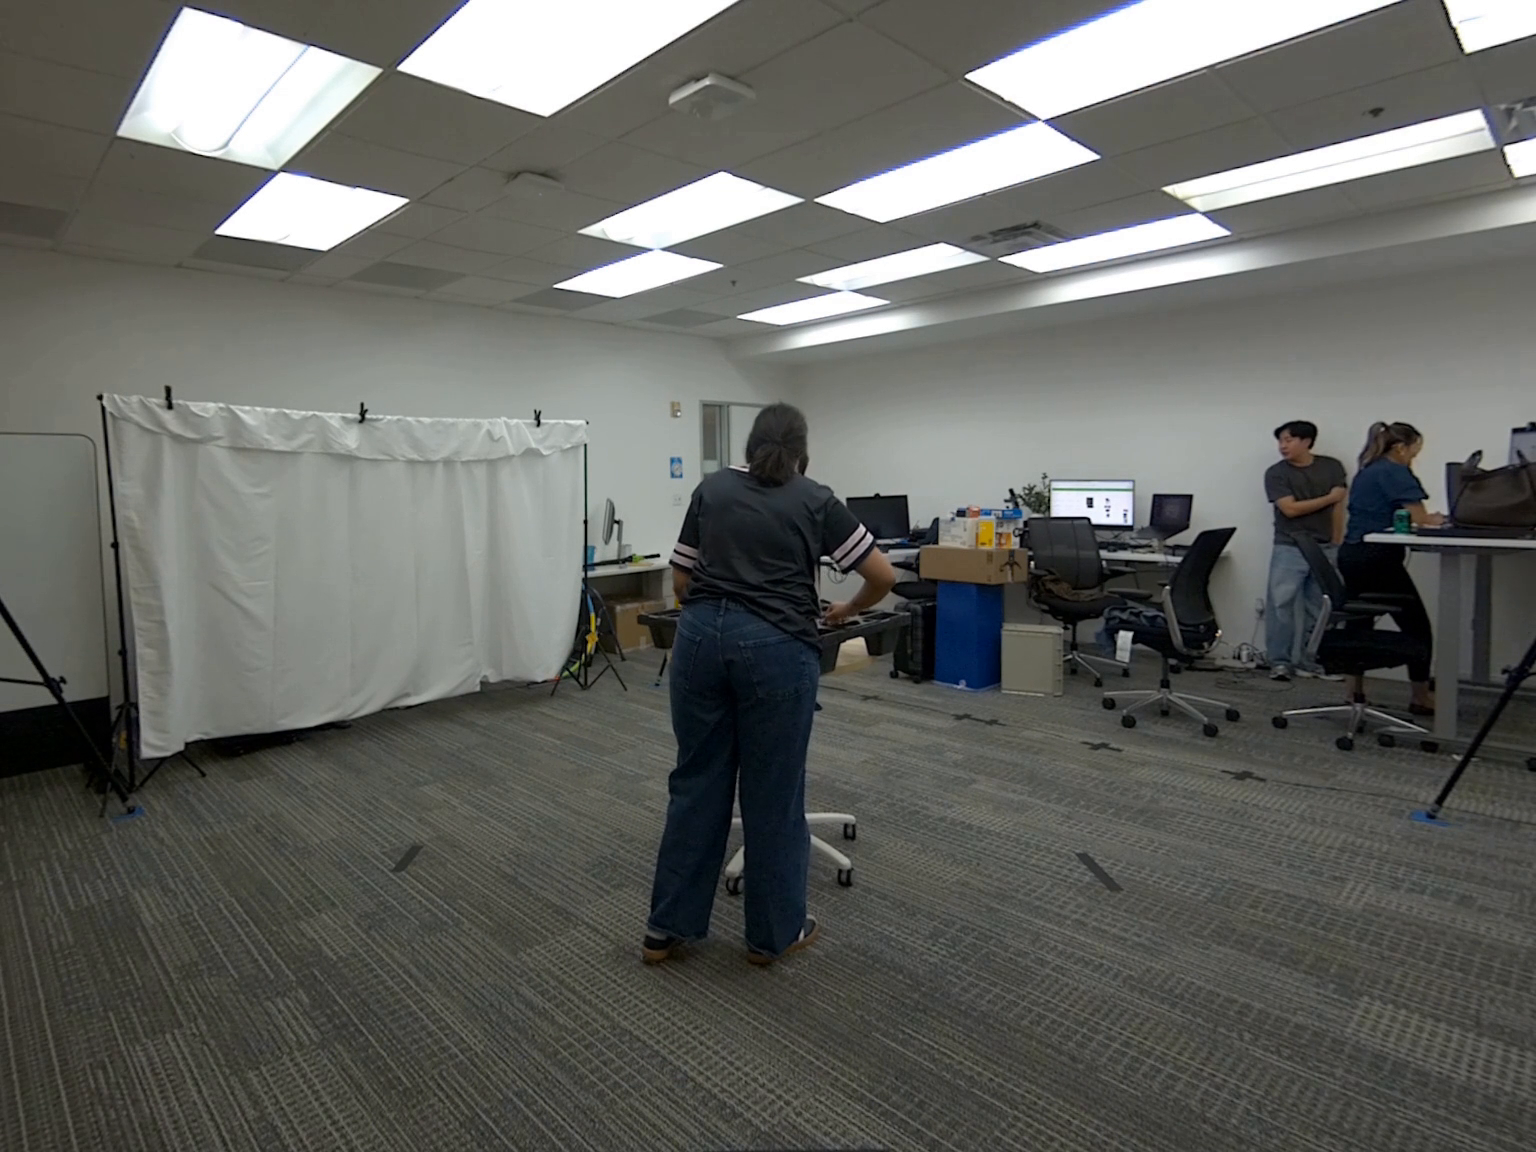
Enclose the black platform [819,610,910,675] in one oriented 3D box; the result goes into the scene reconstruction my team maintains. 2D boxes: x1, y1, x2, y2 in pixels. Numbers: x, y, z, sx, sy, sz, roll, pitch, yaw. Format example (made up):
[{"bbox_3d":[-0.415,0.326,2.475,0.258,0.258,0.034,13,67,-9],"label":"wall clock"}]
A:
[{"bbox_3d":[0.017,0.206,3.055,0.830,0.142,0.590,5,10,41],"label":"black platform"}]
